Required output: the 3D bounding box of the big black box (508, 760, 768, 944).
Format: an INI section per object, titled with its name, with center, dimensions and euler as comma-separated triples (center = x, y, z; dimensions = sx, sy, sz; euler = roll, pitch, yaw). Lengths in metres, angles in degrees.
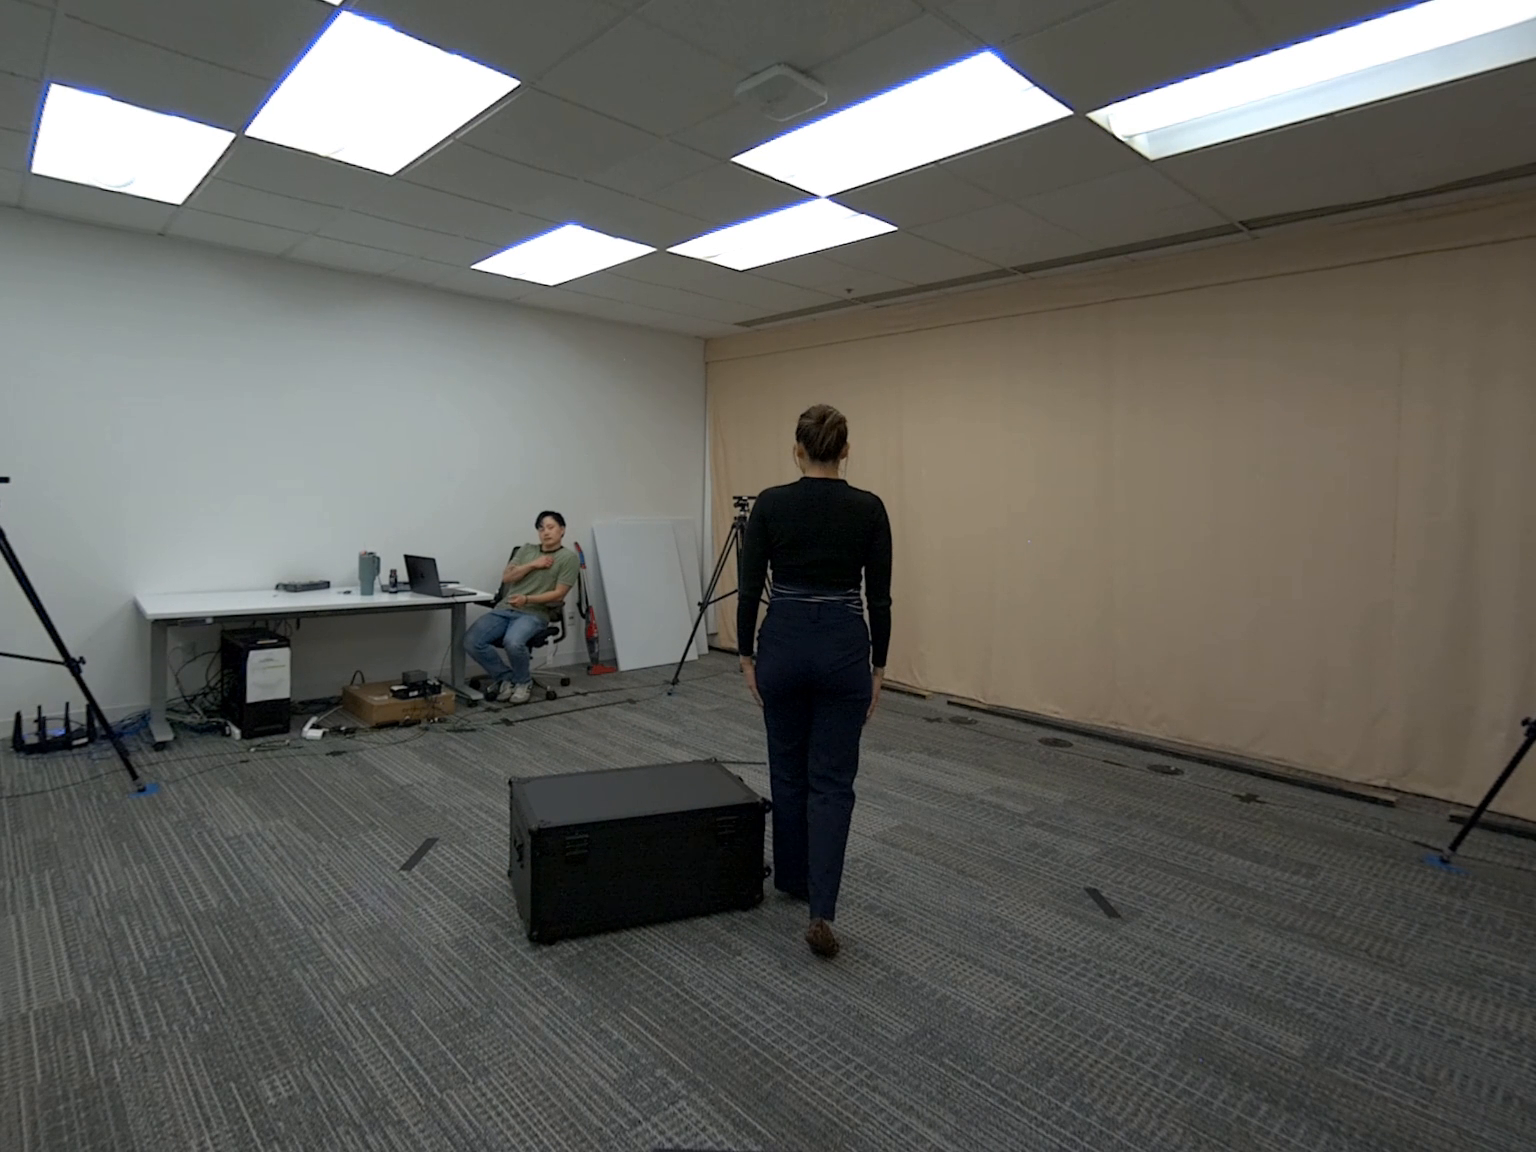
[big black box]
center = -0.492, 0.923, 2.902
dimensions = 0.846, 0.395, 0.532
euler = 0, 4, -24
